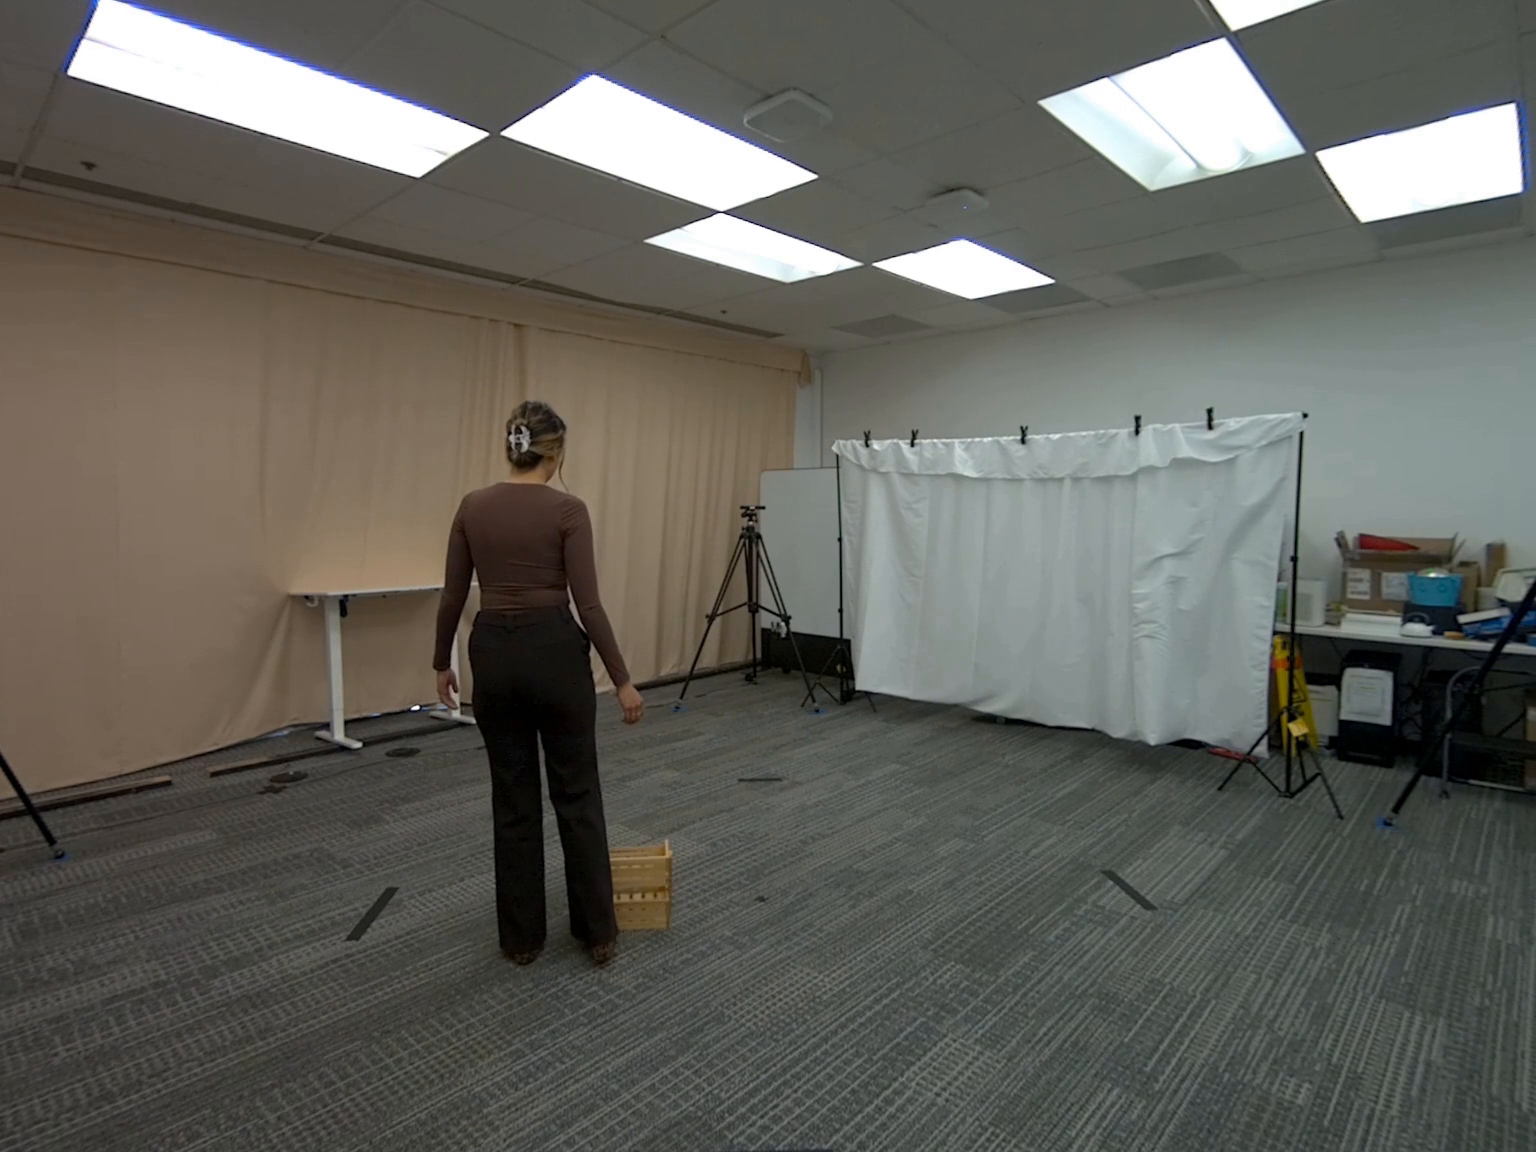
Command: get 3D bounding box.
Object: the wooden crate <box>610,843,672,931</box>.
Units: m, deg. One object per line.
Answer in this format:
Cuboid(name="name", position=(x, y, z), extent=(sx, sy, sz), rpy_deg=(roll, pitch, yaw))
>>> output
Cuboid(name="wooden crate", position=(-0.492, 1.026, 2.870), extent=(0.323, 0.272, 0.304), rpy_deg=(-1, 4, -6))
